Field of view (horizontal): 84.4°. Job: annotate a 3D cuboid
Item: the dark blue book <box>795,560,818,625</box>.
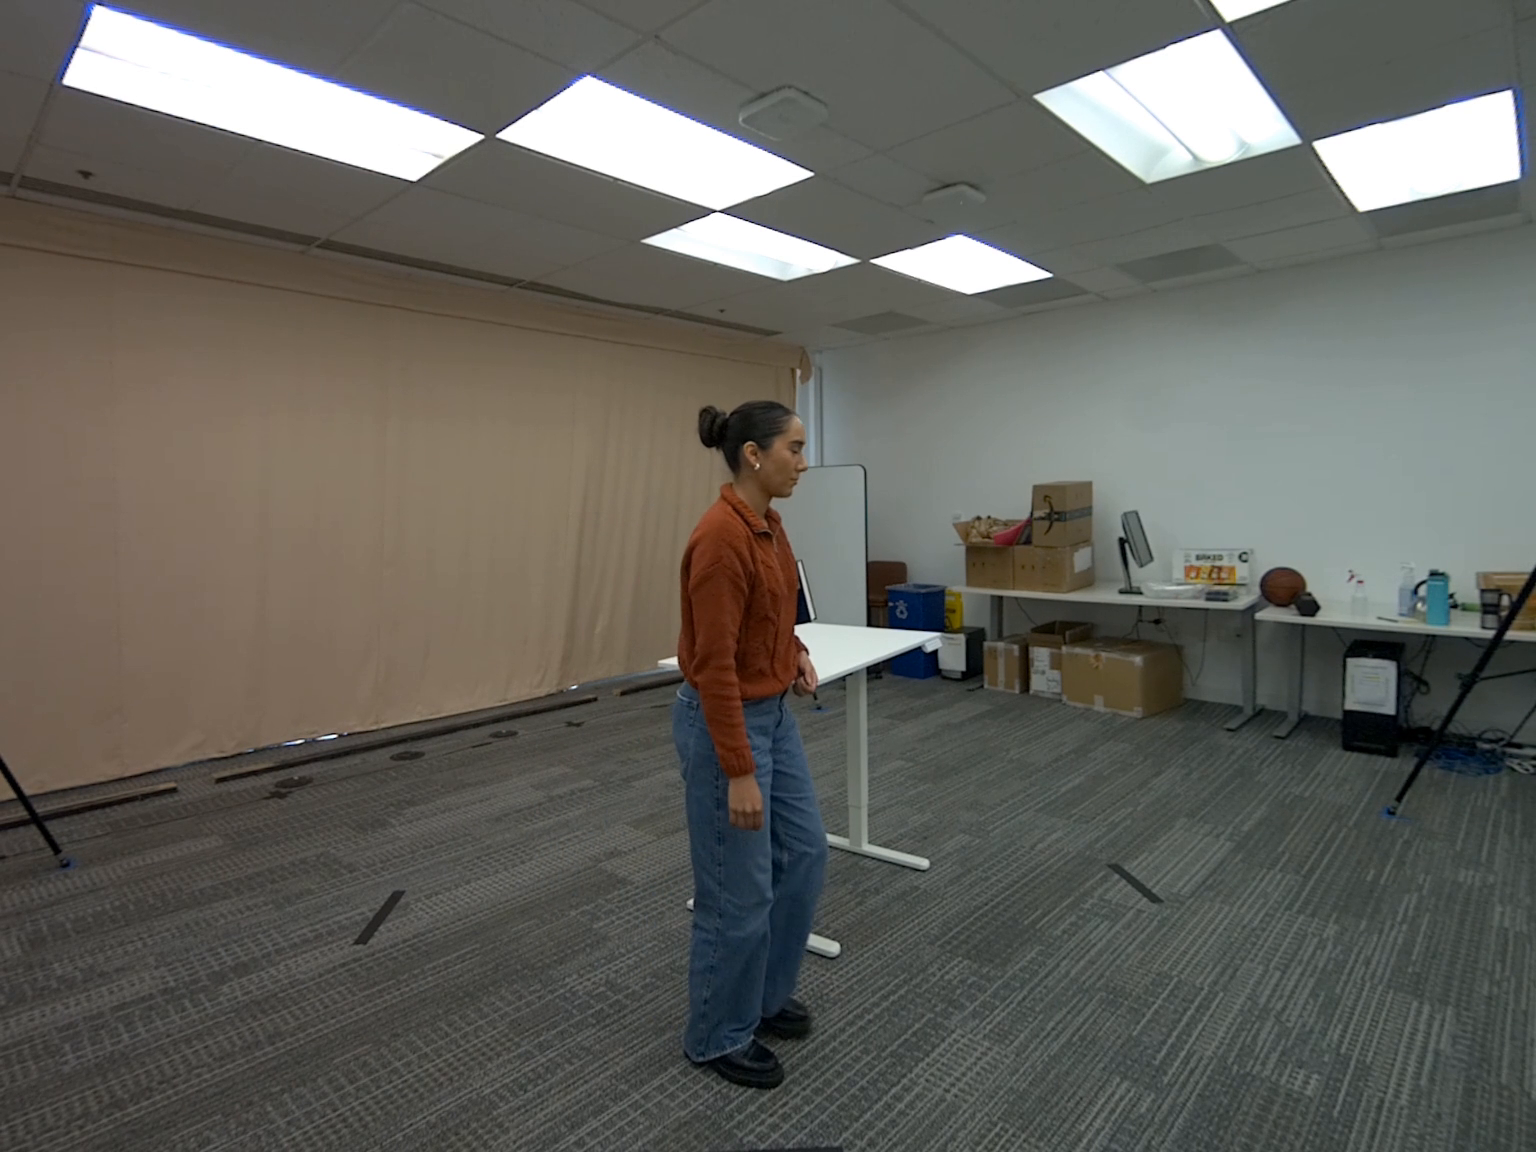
[{"bbox_3d":[0.006,0.056,2.209,0.249,0.163,0.044,-12,2,20],"label":"dark blue book"}]
